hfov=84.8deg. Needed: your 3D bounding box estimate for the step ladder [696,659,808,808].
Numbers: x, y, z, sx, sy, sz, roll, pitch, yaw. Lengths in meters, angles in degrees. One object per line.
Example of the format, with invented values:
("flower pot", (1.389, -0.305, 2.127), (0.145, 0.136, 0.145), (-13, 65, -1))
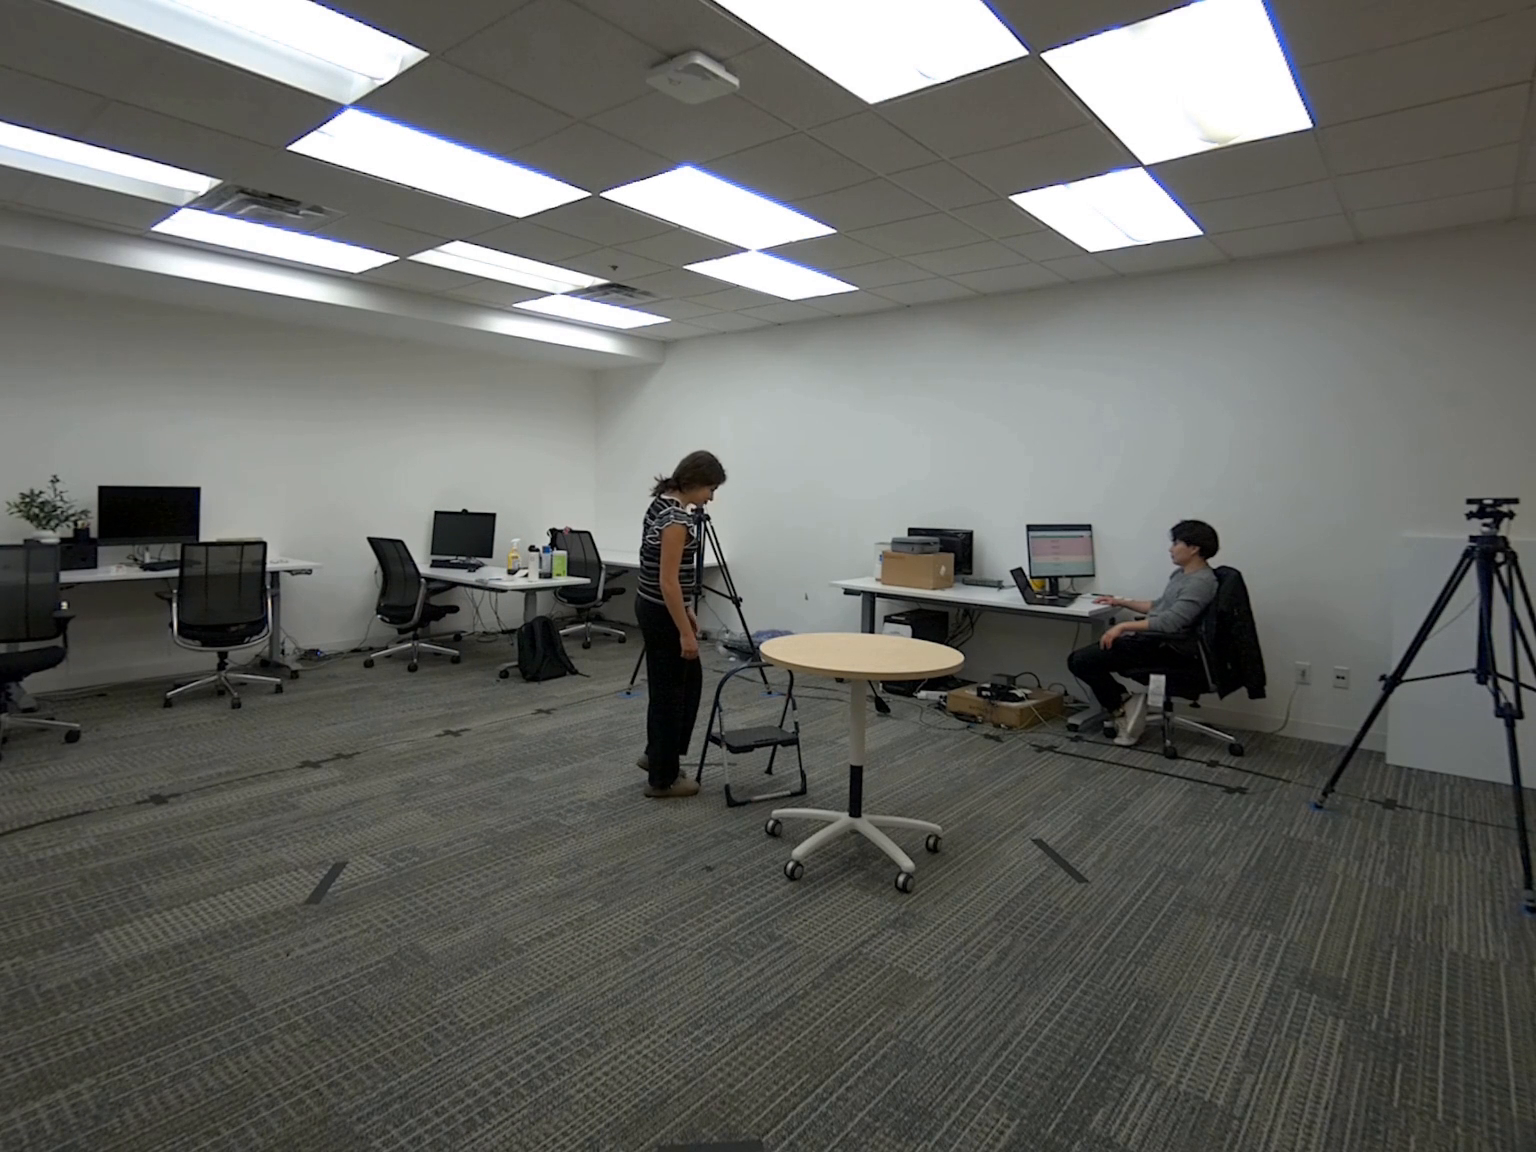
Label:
("step ladder", (-0.086, 0.689, 3.940), (0.419, 0.604, 0.360), (-1, 4, -31))
